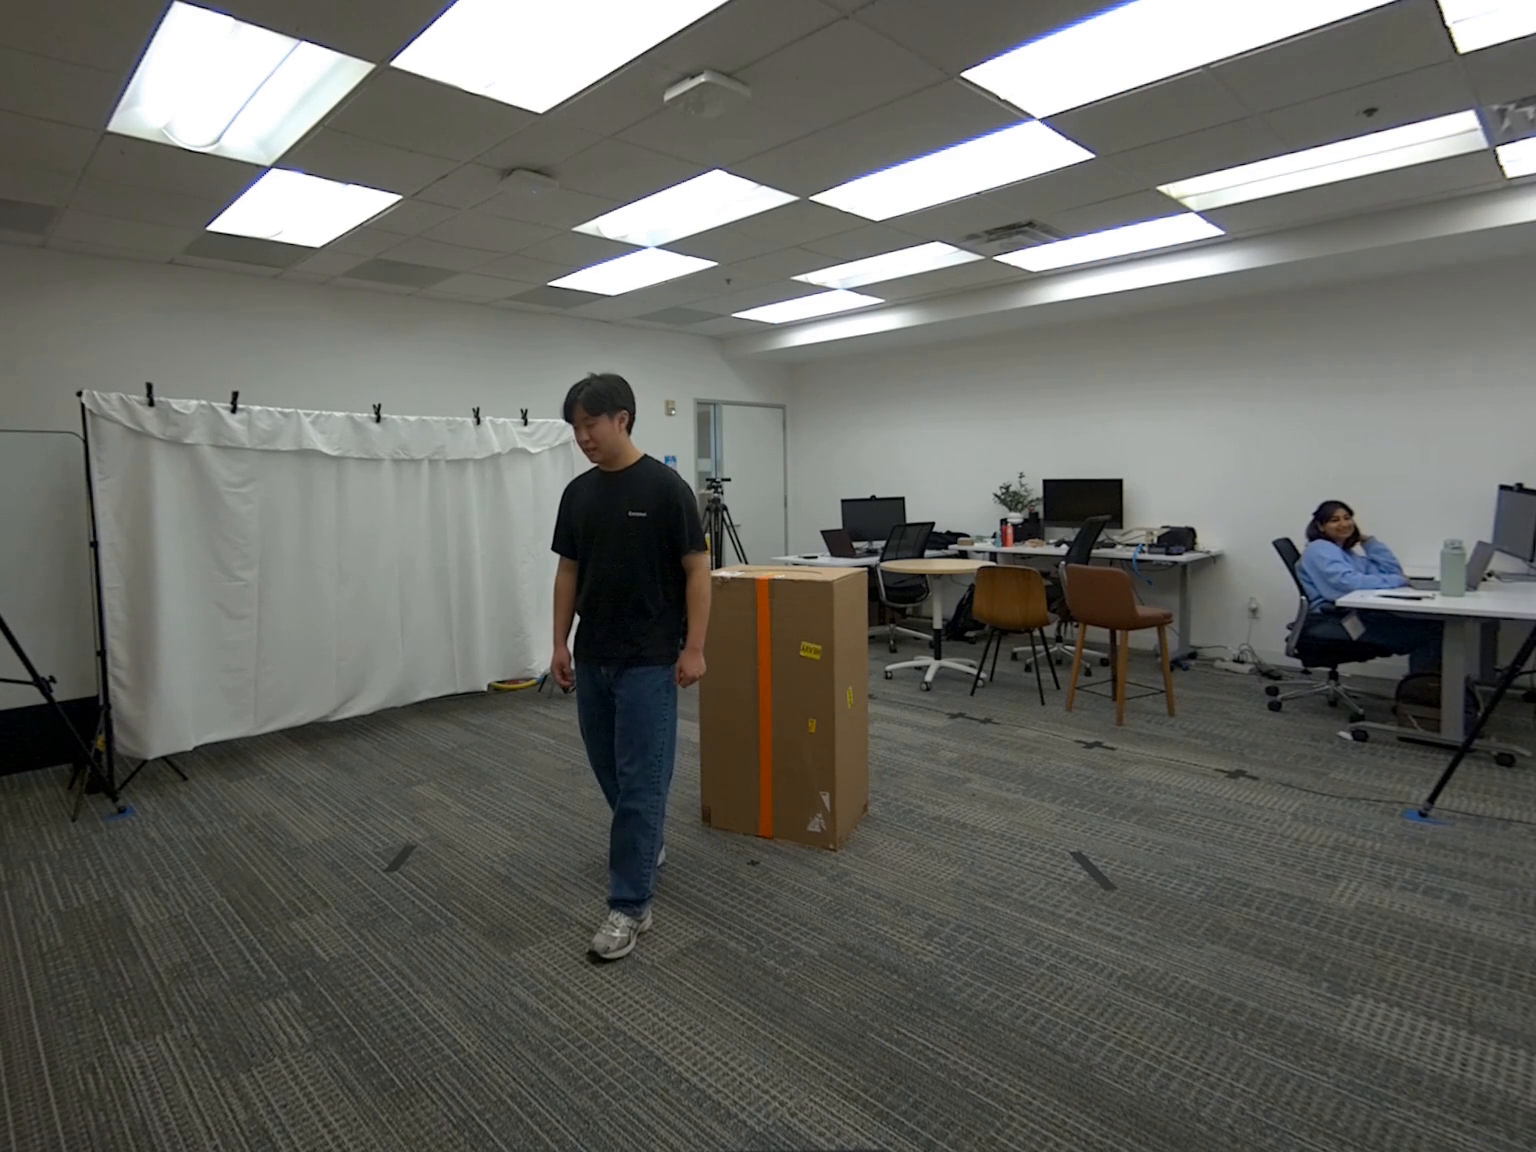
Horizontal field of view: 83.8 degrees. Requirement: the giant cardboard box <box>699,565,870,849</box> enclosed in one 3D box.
[{"bbox_3d":[0.071,0.486,3.472,0.598,1.022,0.438,2,6,27],"label":"giant cardboard box"}]
